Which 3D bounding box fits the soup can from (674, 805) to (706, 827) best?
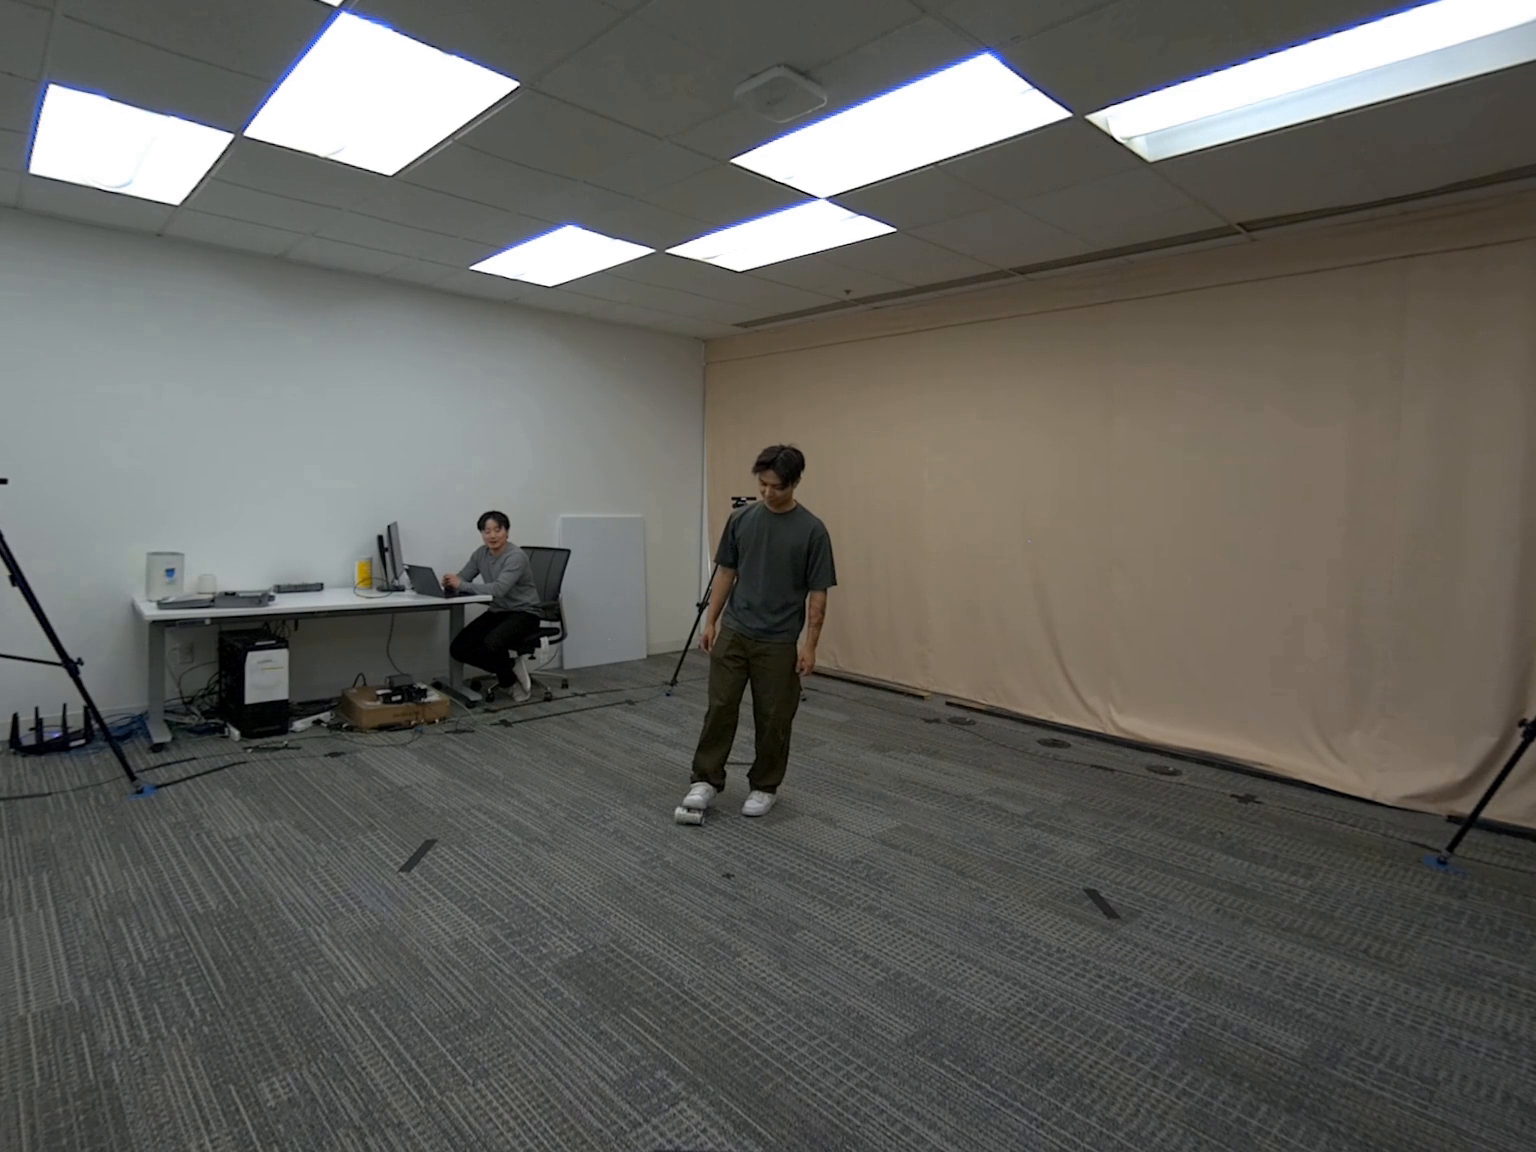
[{"bbox_3d":[-0.357,1.019,3.592,0.122,0.067,0.067,1,4,7],"label":"soup can"}]
